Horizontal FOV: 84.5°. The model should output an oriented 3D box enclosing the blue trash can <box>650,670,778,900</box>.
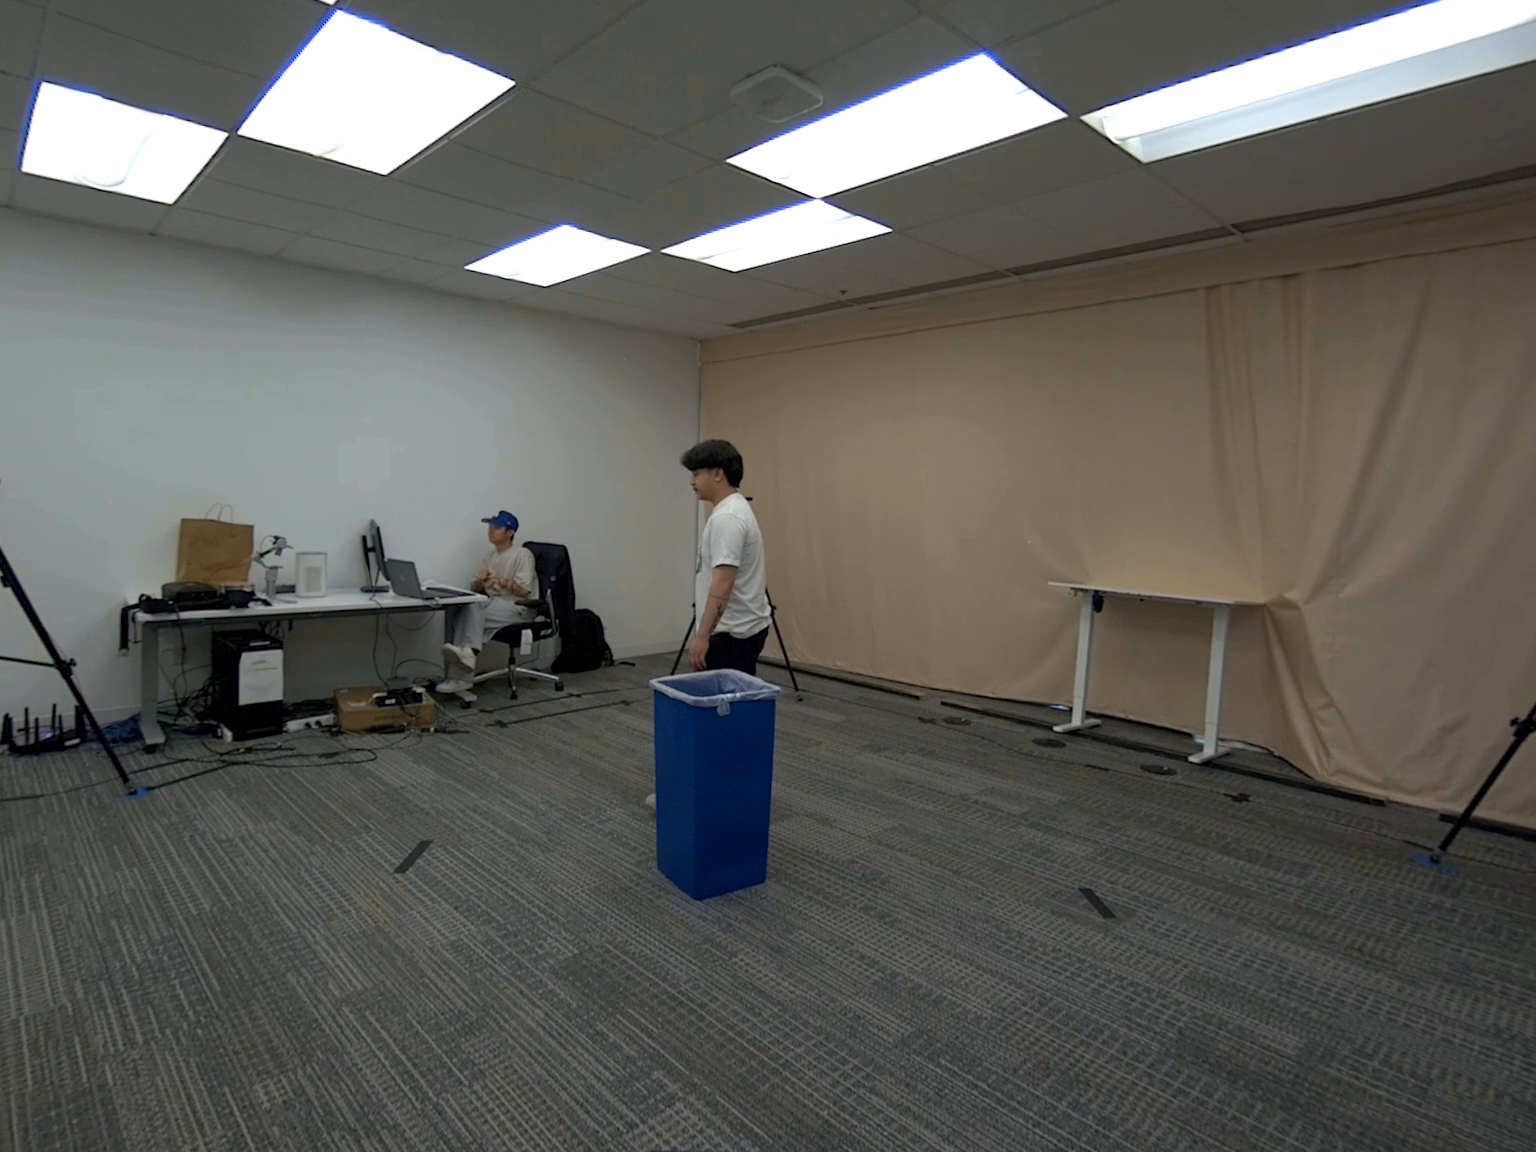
[{"bbox_3d":[-0.219,0.749,3.096,0.370,0.711,0.383,-1,5,-34],"label":"blue trash can"}]
